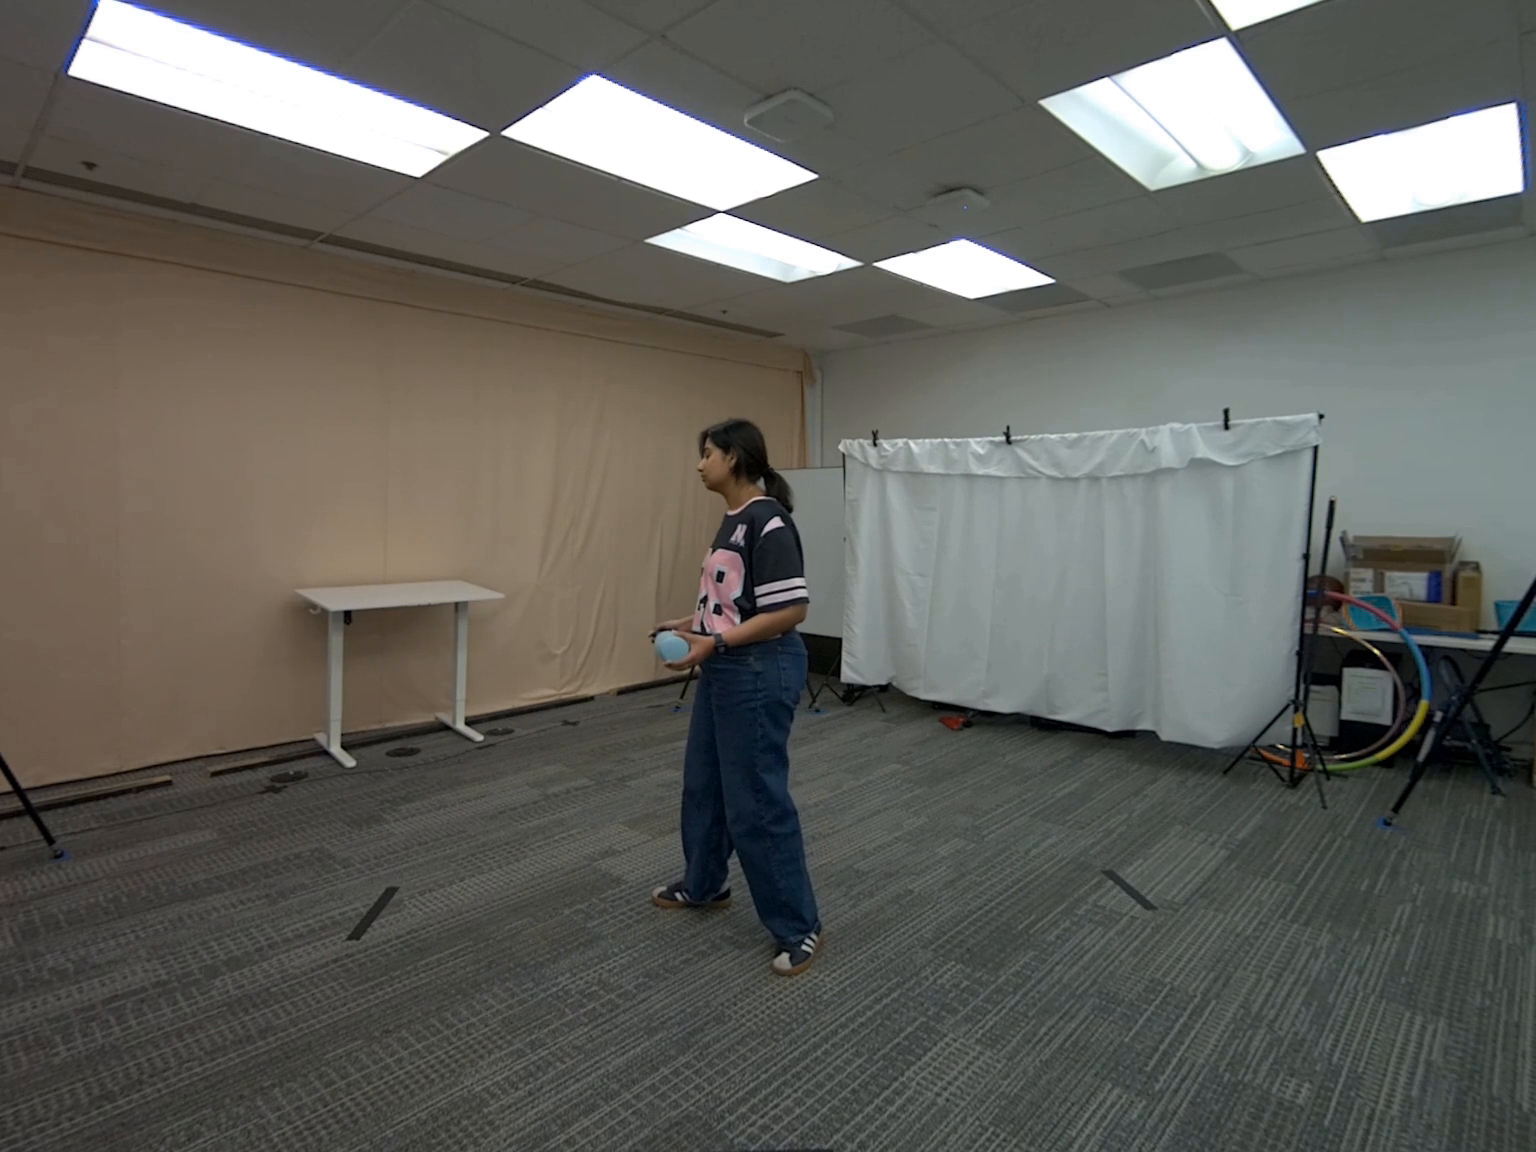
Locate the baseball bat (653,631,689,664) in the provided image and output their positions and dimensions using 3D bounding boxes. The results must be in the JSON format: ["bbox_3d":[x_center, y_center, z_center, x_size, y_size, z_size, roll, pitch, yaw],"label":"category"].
[{"bbox_3d":[-0.323,0.211,2.675,0.088,0.089,0.549,-1,1,-13],"label":"baseball bat"}]
